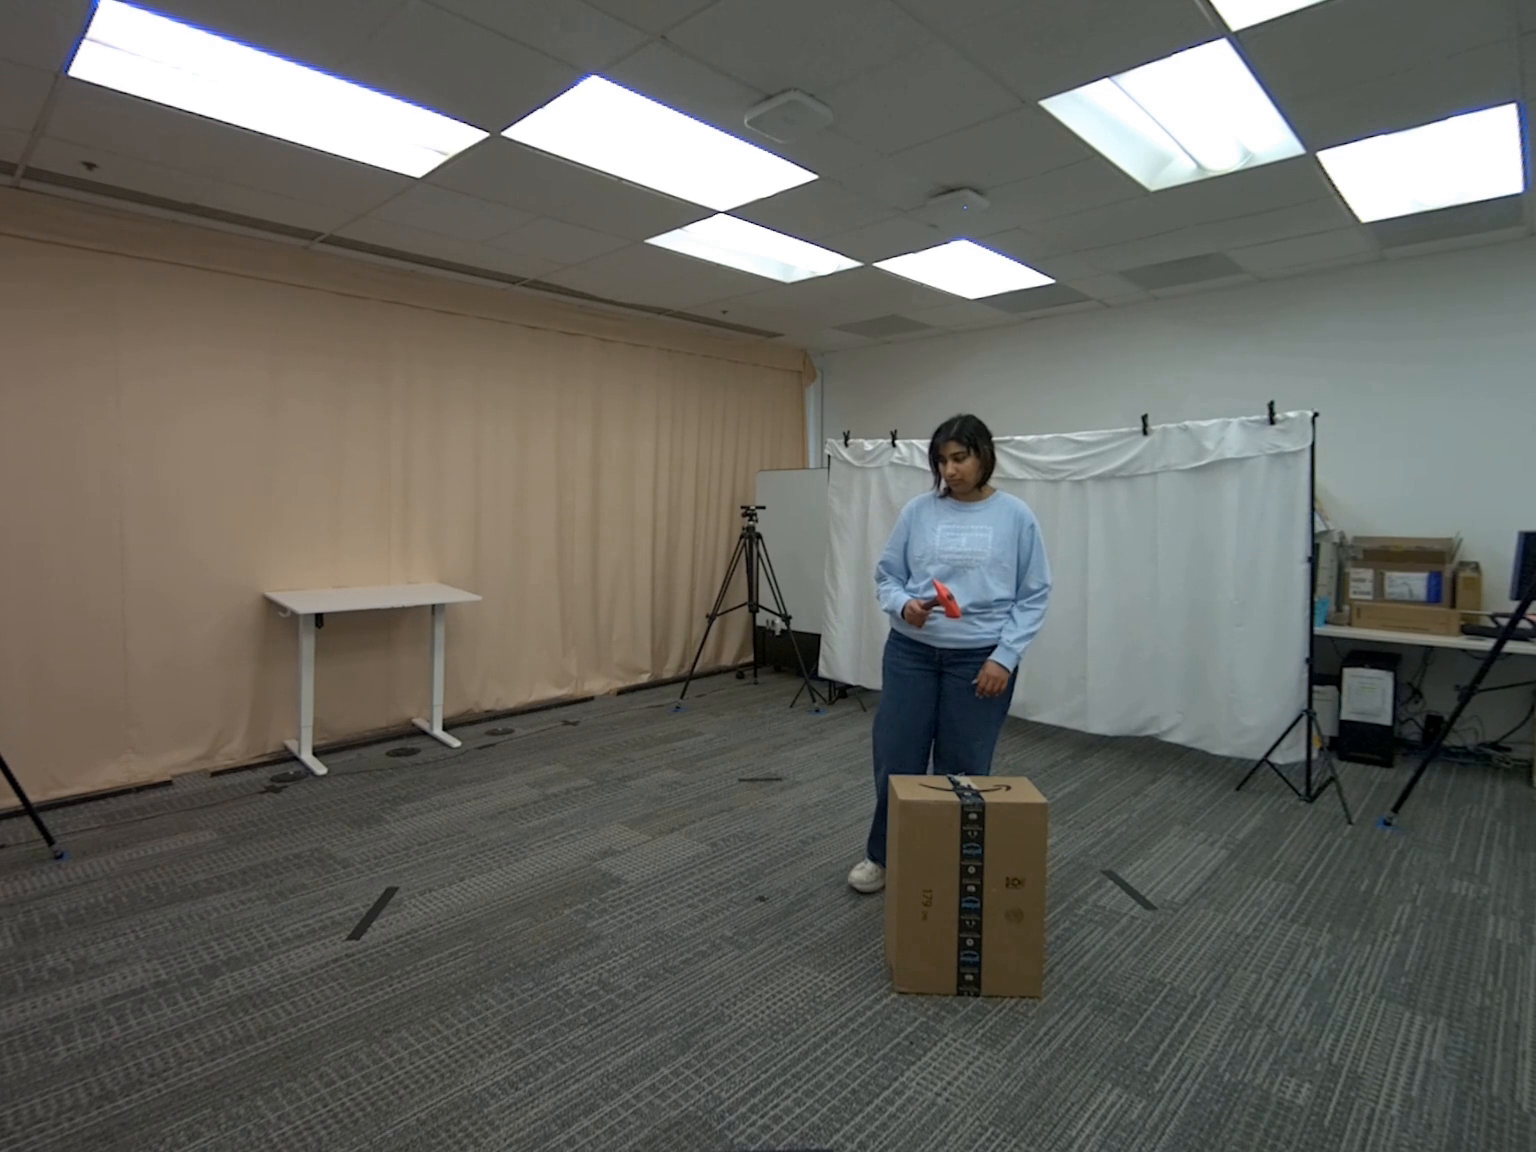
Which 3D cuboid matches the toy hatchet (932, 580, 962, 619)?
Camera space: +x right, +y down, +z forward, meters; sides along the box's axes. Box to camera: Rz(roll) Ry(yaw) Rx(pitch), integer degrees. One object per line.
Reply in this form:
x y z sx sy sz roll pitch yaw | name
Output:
0.528 0.116 2.595 0.029 0.134 0.266 -31 -24 -18 | toy hatchet
